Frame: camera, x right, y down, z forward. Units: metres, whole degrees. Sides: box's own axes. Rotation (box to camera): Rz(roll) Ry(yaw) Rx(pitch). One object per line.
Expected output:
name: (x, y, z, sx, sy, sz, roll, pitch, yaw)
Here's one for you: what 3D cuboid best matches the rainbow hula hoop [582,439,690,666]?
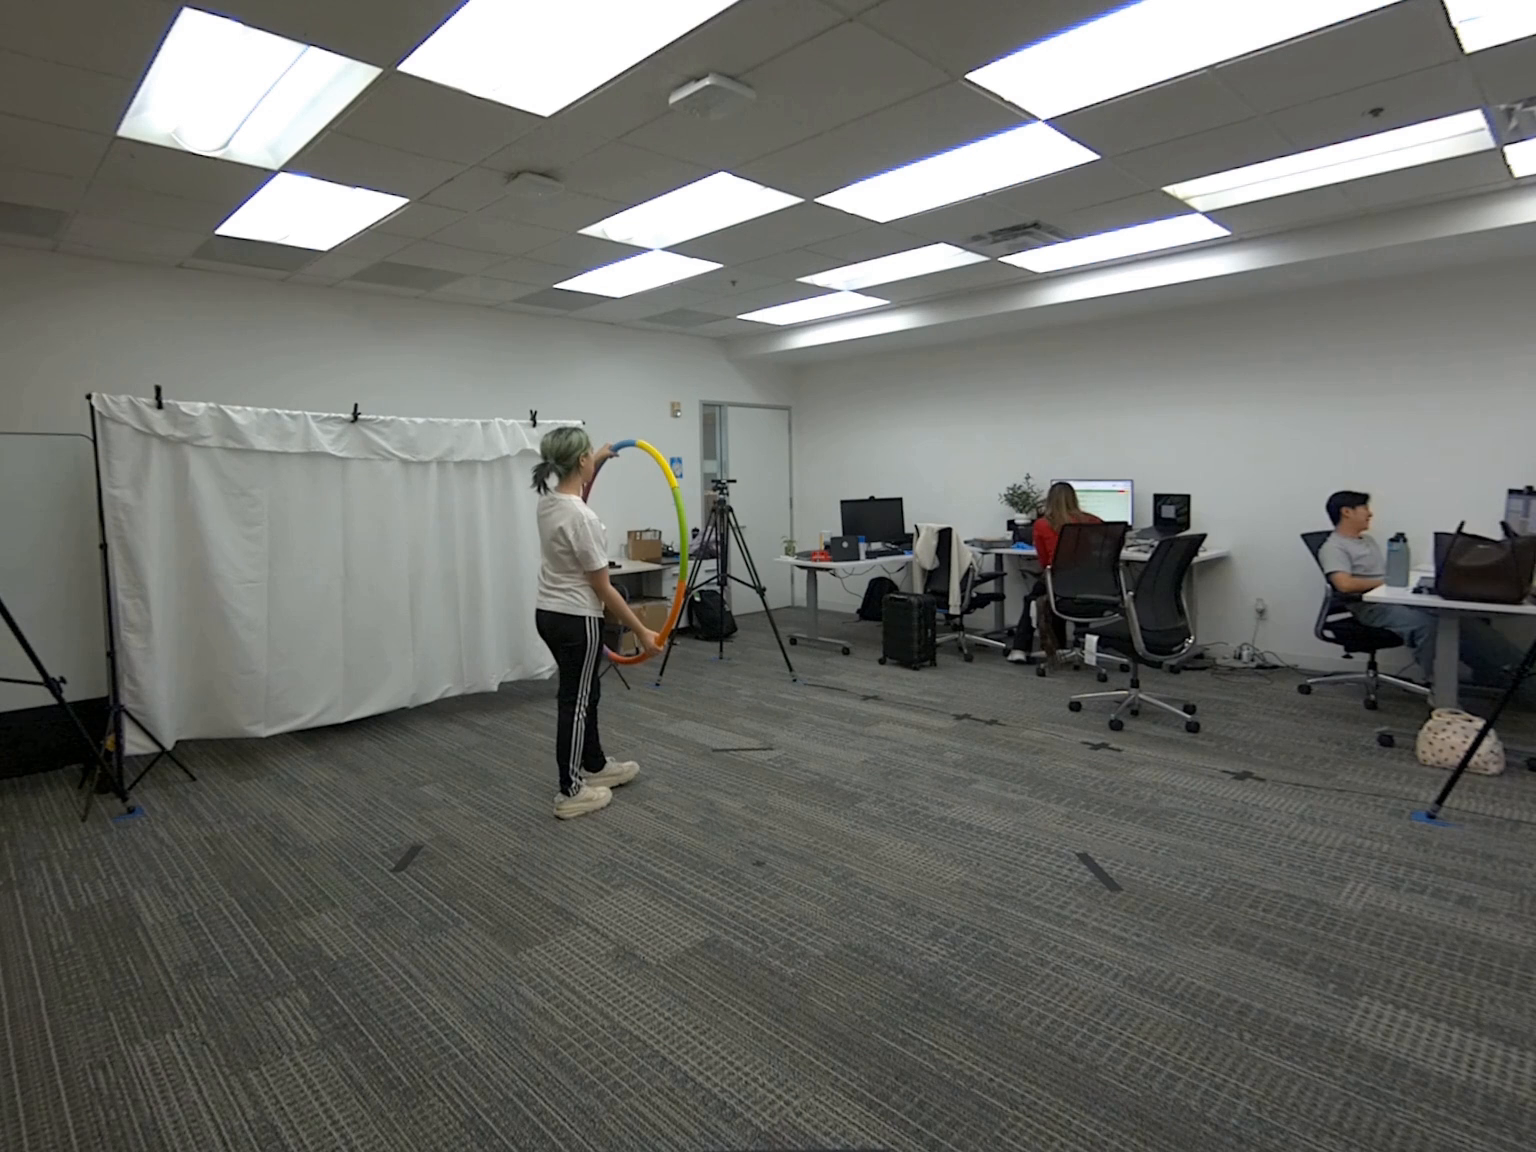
rainbow hula hoop: (-0.631, -0.106, 3.780, 0.034, 0.977, 1.008, 2, 2, -37)
